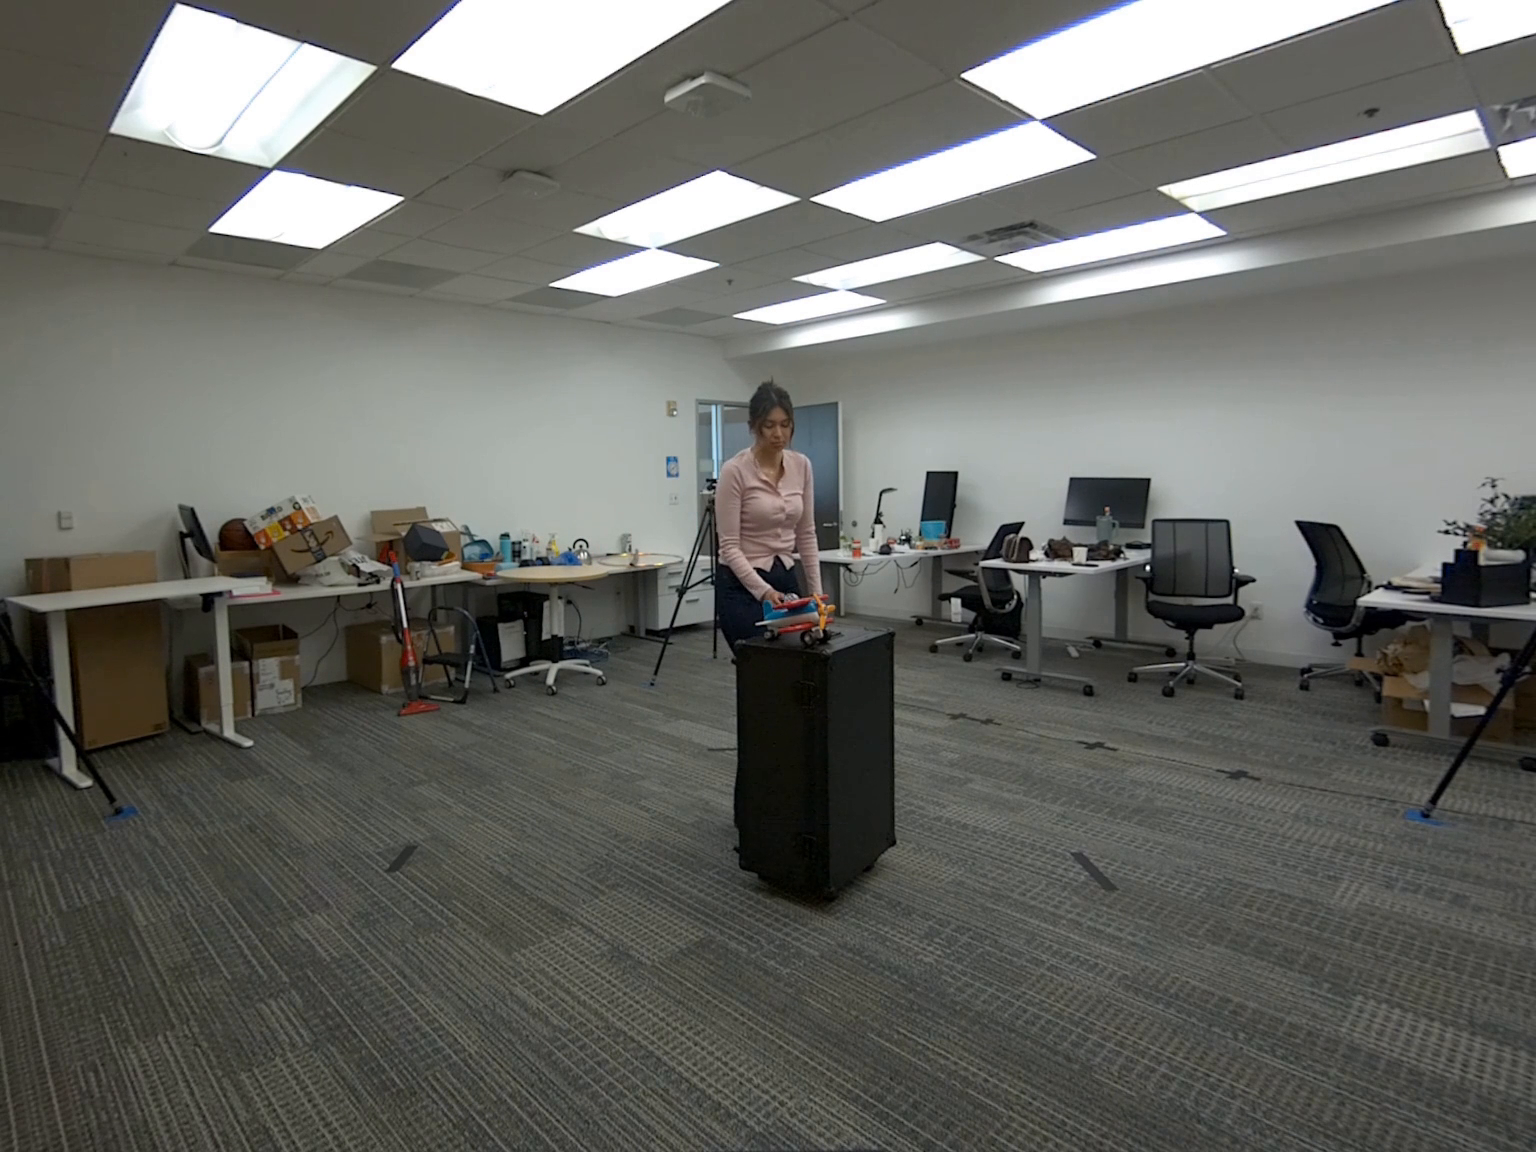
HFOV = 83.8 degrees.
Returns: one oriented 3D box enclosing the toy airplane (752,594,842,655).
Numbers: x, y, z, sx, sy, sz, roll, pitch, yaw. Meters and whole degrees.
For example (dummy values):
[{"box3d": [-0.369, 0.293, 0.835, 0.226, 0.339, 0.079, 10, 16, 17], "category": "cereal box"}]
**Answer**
[{"box3d": [0.099, 0.152, 2.833, 0.262, 0.156, 0.249, 1, 5, 12], "category": "toy airplane"}]
